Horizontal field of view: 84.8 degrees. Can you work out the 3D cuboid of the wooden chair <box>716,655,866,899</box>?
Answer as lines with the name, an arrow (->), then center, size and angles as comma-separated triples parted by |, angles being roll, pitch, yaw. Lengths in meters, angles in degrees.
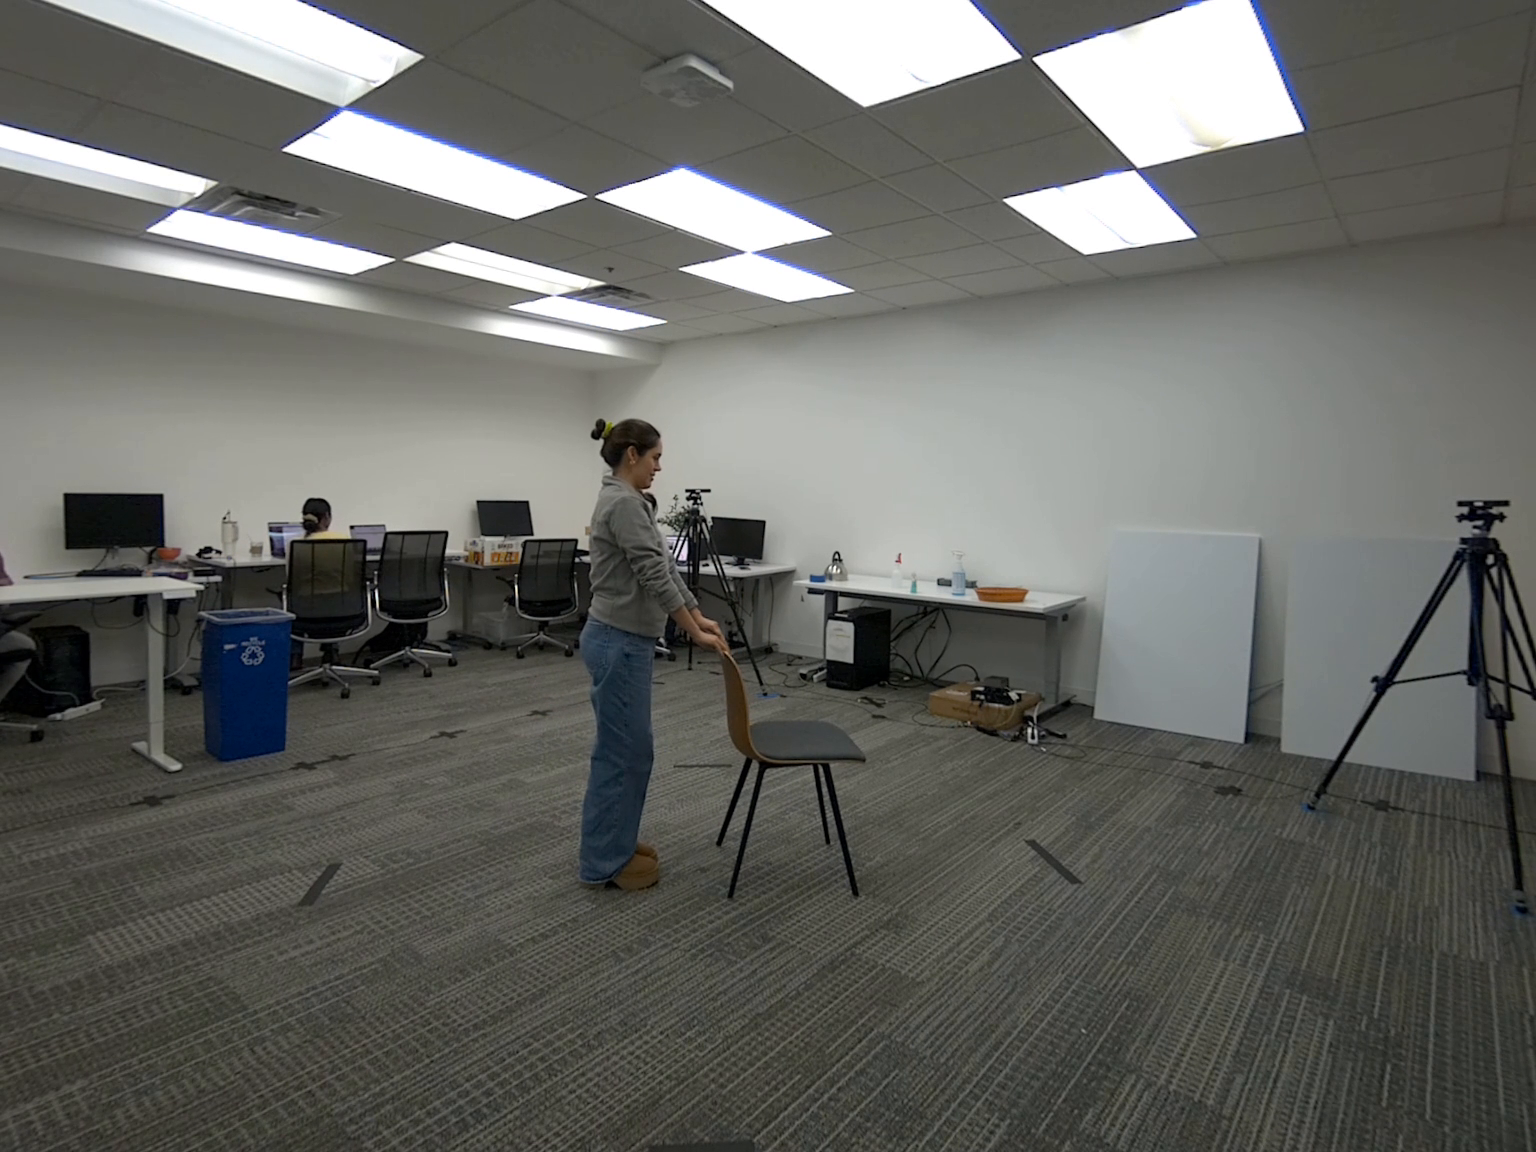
wooden chair -> 0.069, 0.657, 3.105 | 0.520, 0.875, 0.482 | -4, 3, -7
